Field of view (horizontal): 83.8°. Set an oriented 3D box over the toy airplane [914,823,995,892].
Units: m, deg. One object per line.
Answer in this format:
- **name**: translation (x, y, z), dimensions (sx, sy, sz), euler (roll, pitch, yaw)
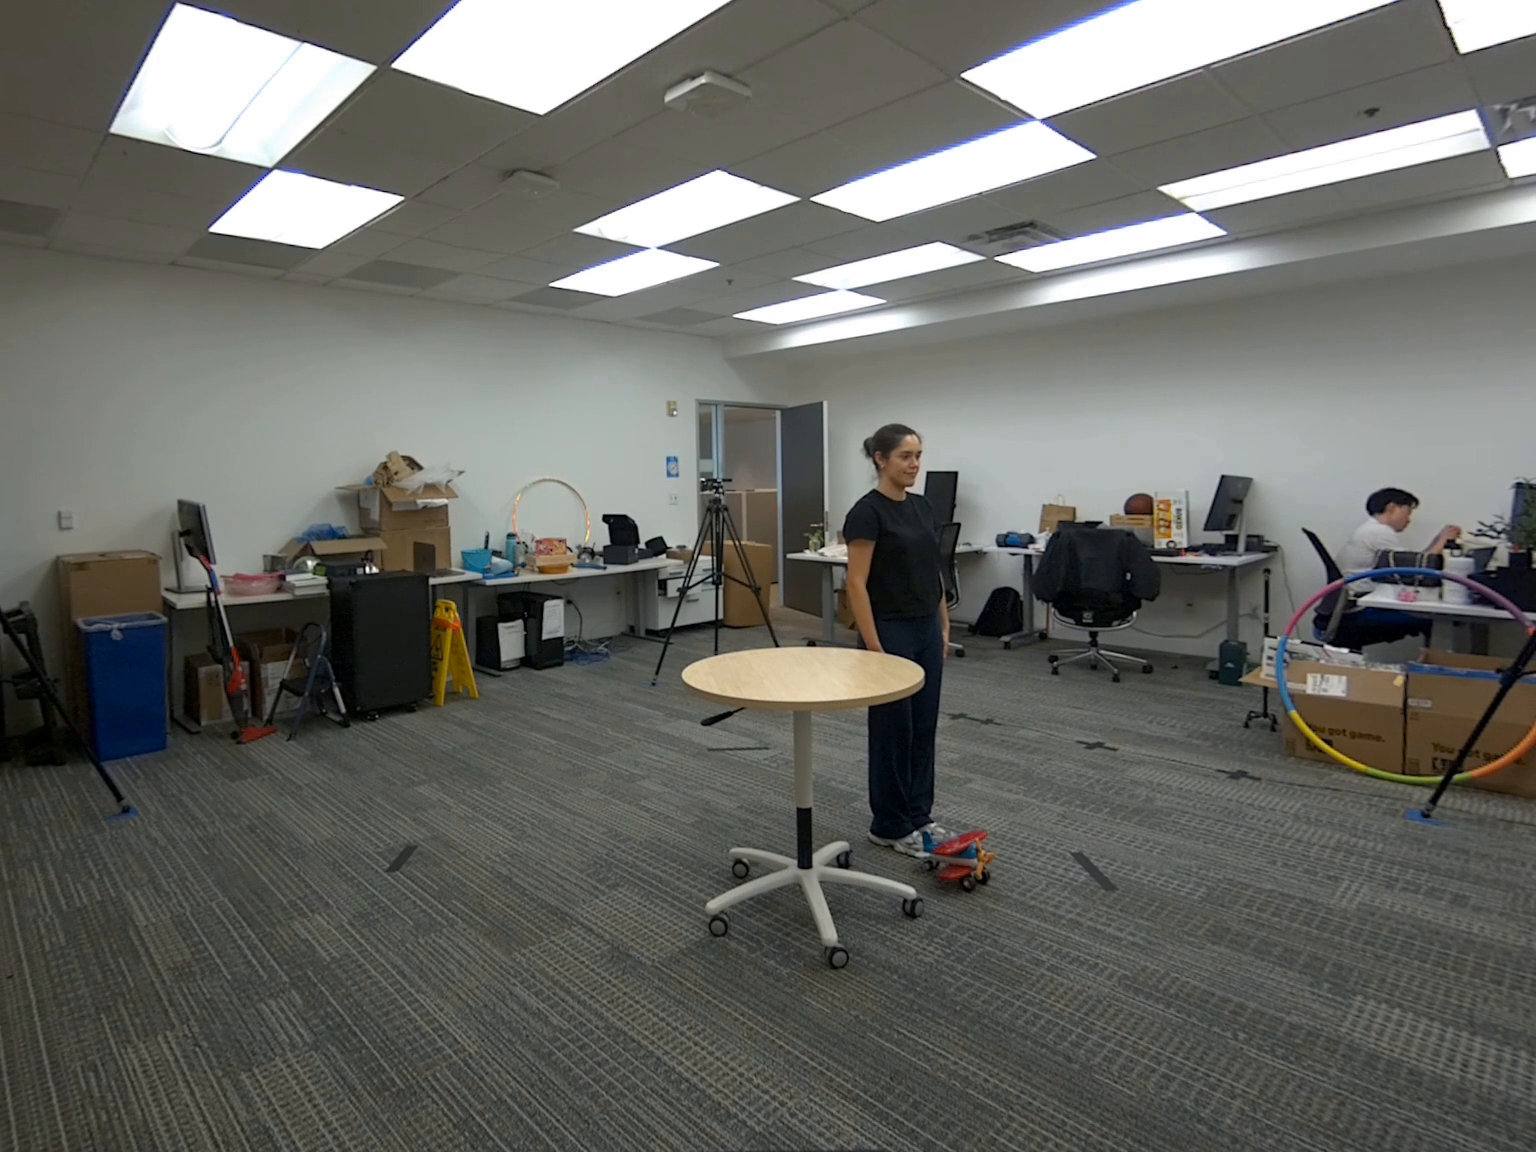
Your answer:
- **toy airplane**: translation (0.633, 0.978, 2.969), dimensions (0.264, 0.156, 0.247), euler (3, 6, 20)
